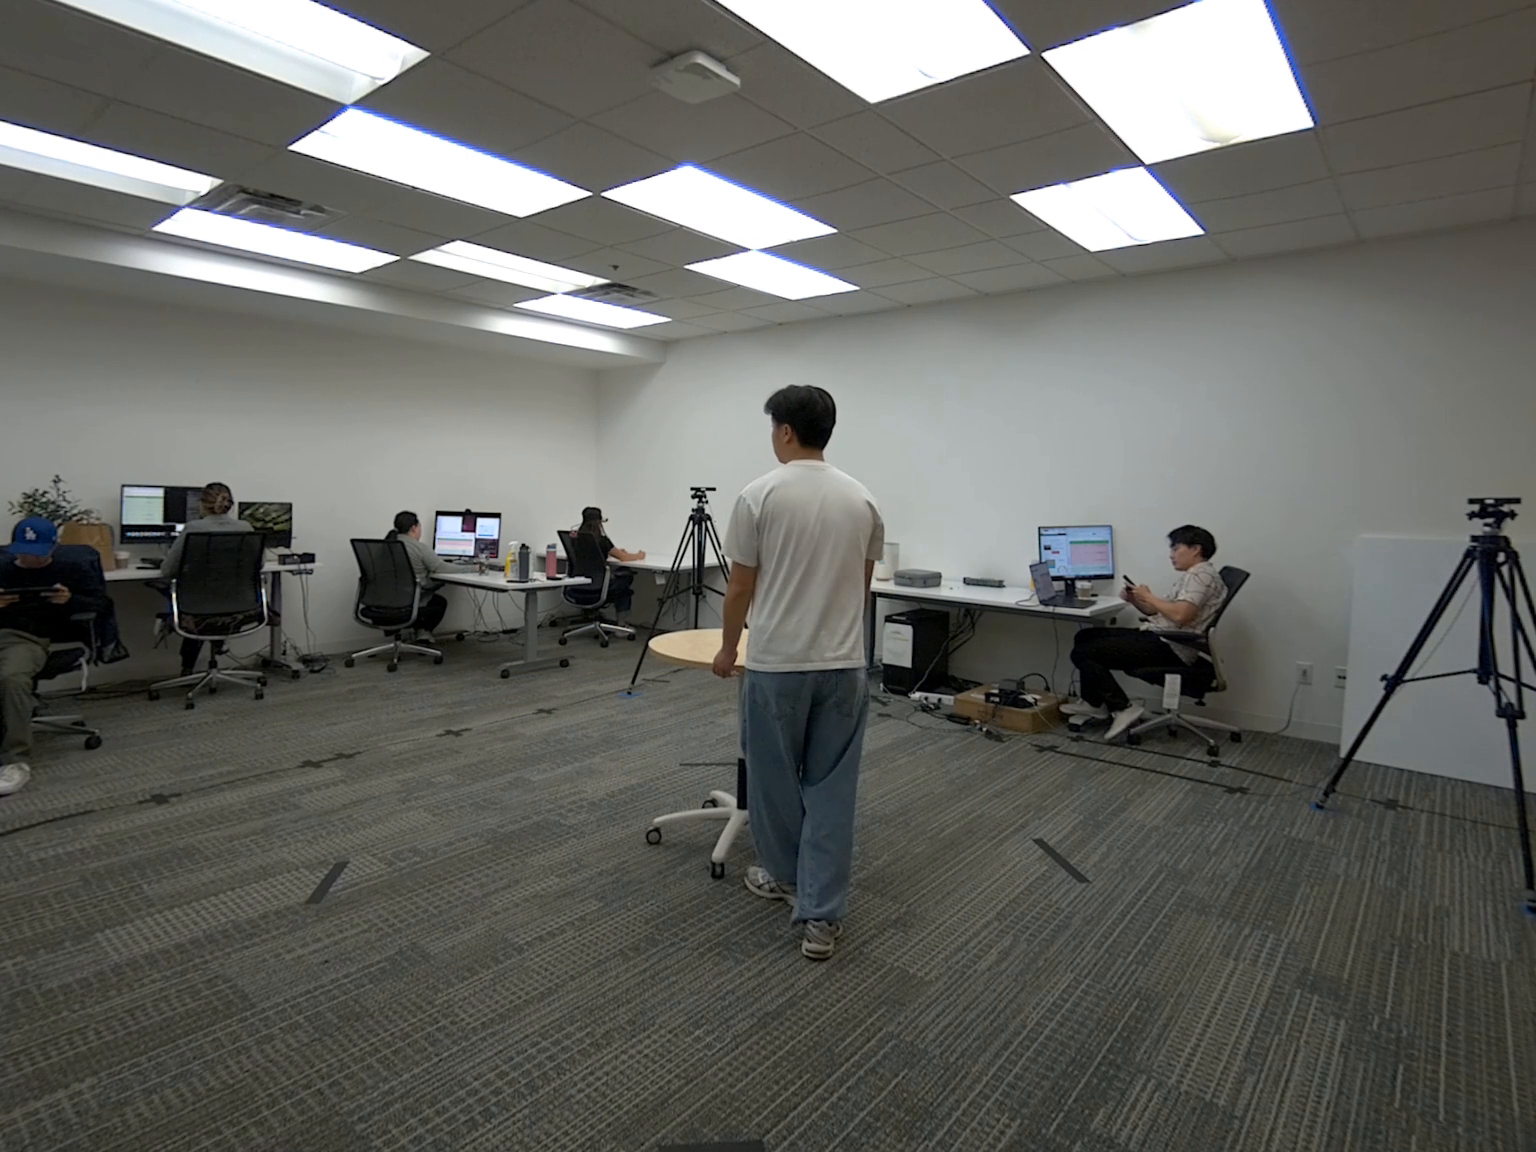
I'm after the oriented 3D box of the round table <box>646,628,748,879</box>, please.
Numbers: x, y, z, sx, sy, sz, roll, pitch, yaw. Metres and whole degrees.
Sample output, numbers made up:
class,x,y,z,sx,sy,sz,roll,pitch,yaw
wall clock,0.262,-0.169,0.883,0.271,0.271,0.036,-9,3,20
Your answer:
class,x,y,z,sx,sy,sz,roll,pitch,yaw
round table,-0.108,0.659,3.318,0.763,0.791,0.768,1,4,-2
